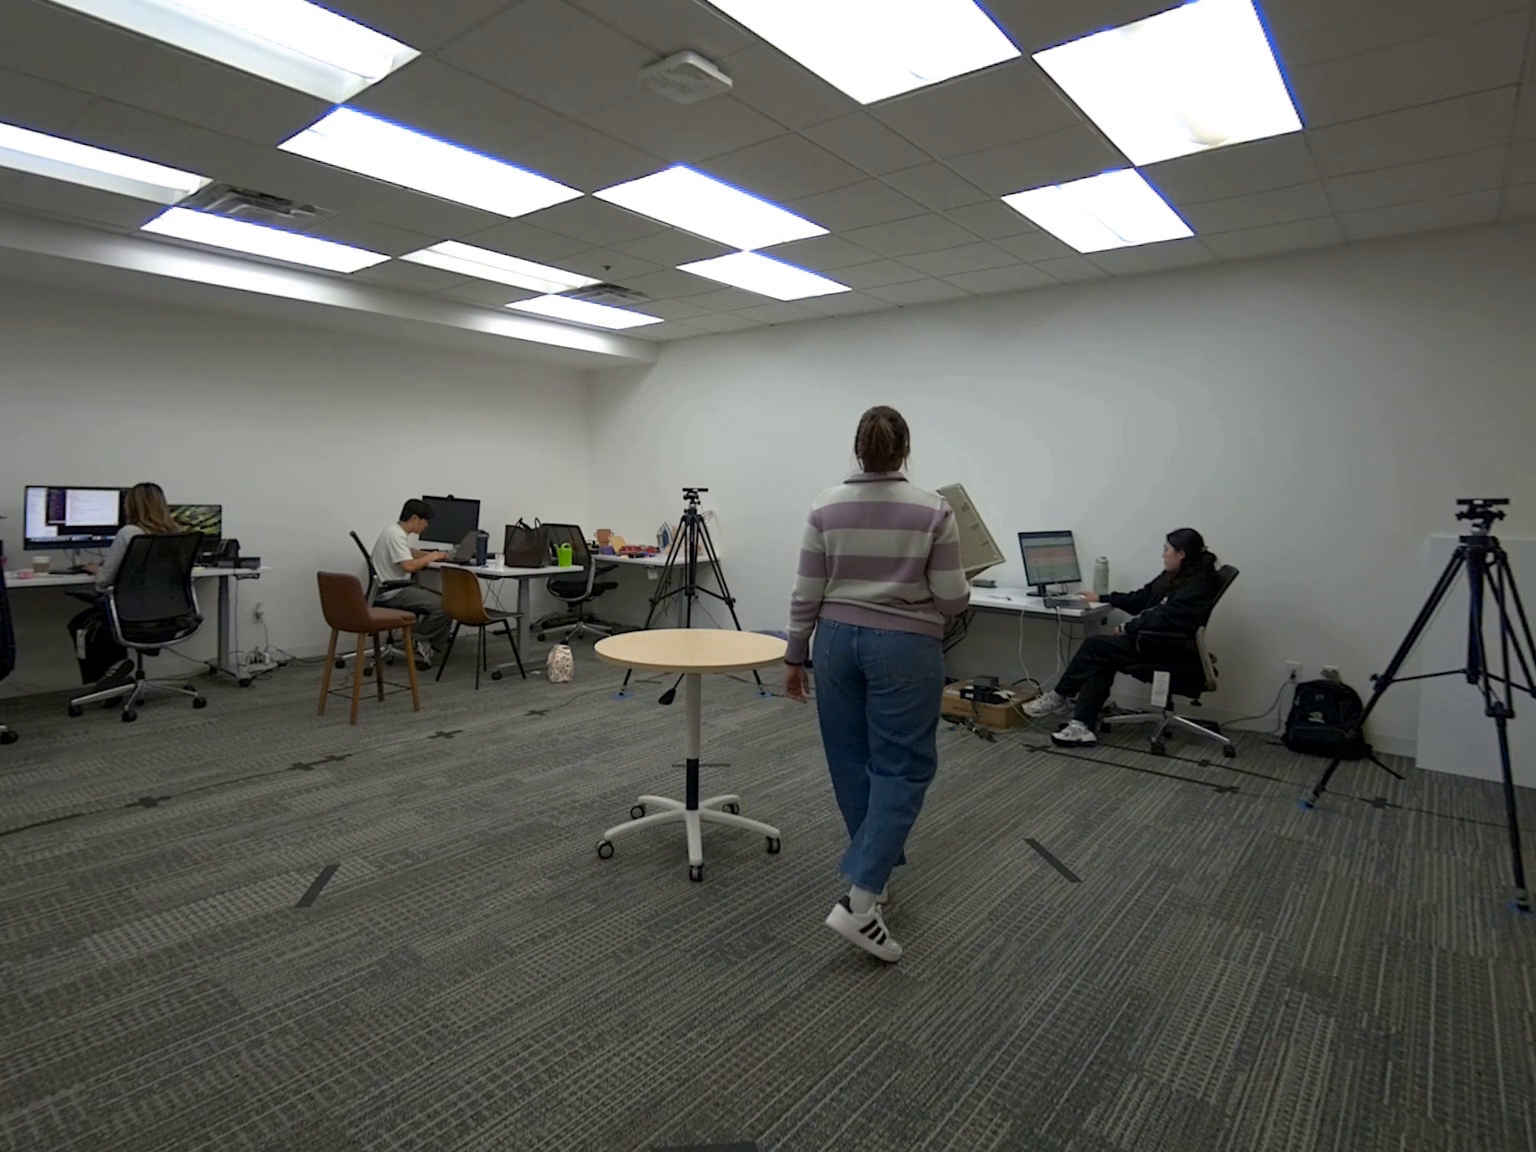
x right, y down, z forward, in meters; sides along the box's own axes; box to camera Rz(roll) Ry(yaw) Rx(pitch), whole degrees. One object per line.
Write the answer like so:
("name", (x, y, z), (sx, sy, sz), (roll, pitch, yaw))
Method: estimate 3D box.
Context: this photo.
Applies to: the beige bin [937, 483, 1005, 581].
("beige bin", (0.580, -0.144, 3.123), (0.411, 0.385, 0.190), (-11, -20, -40))
